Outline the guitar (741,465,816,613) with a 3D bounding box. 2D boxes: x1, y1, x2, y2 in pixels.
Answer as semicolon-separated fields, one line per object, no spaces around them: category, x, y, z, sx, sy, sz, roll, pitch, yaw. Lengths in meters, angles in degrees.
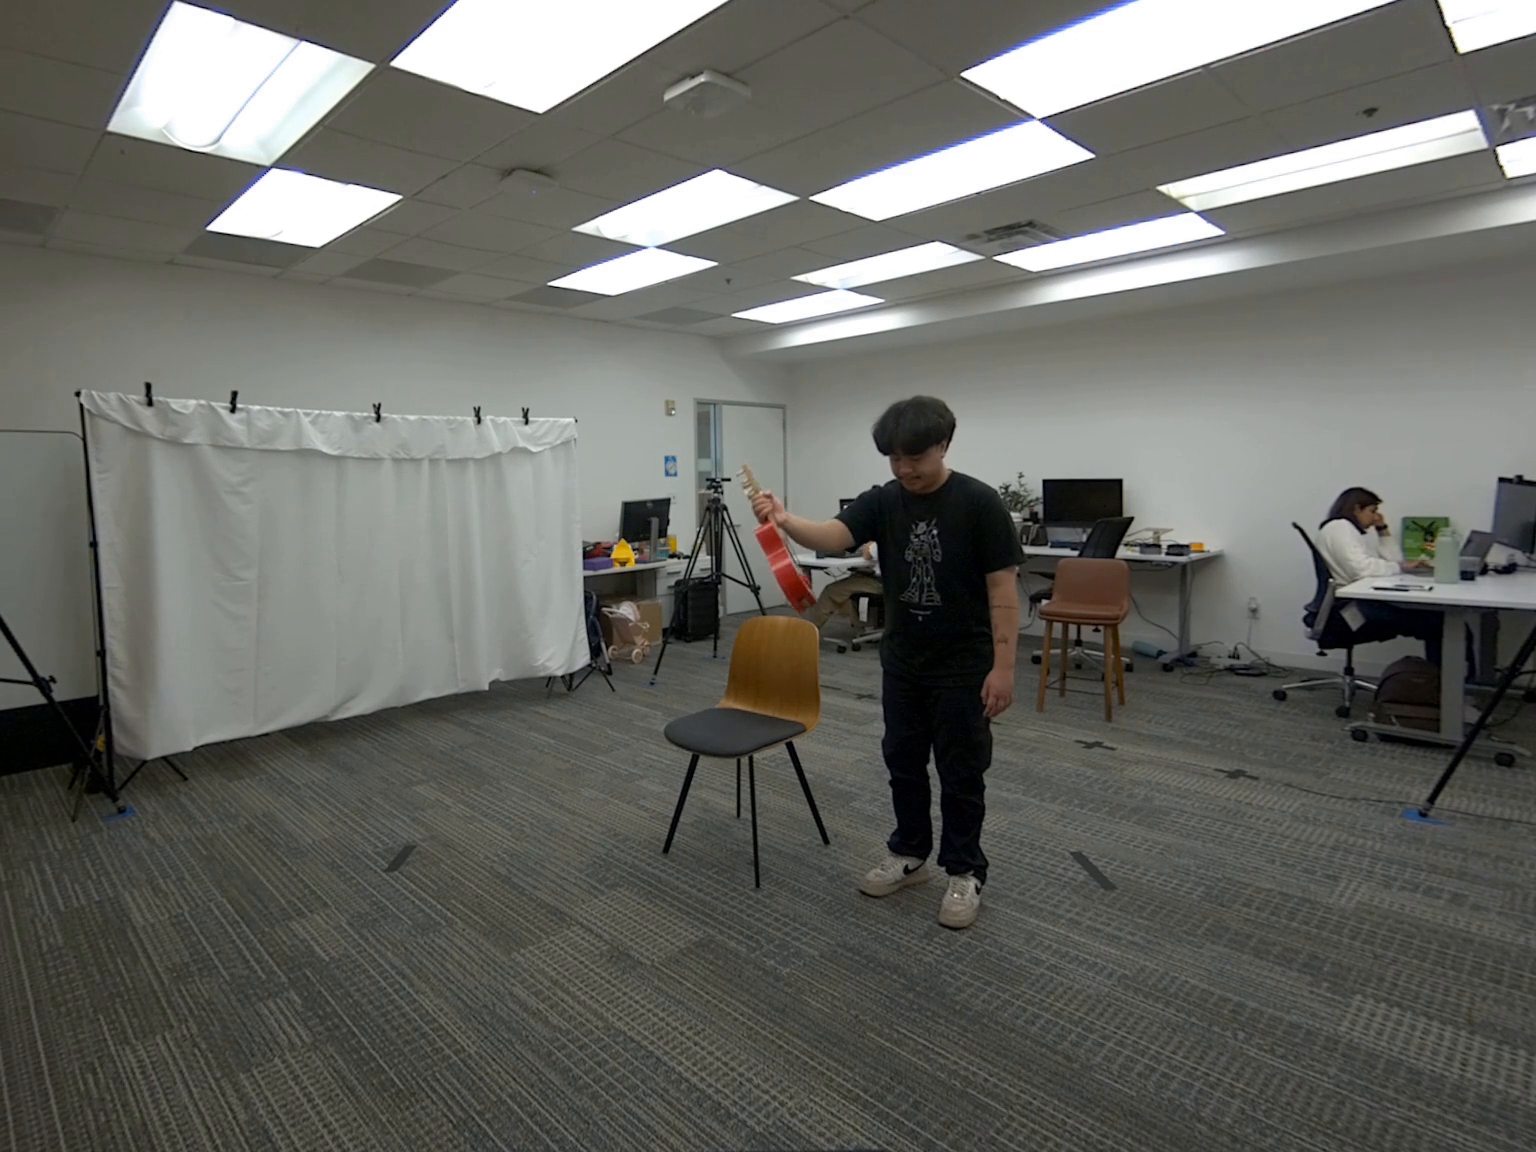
guitar;0.026;-0.103;2.451;0.071;0.515;0.186;-27;-35;6
